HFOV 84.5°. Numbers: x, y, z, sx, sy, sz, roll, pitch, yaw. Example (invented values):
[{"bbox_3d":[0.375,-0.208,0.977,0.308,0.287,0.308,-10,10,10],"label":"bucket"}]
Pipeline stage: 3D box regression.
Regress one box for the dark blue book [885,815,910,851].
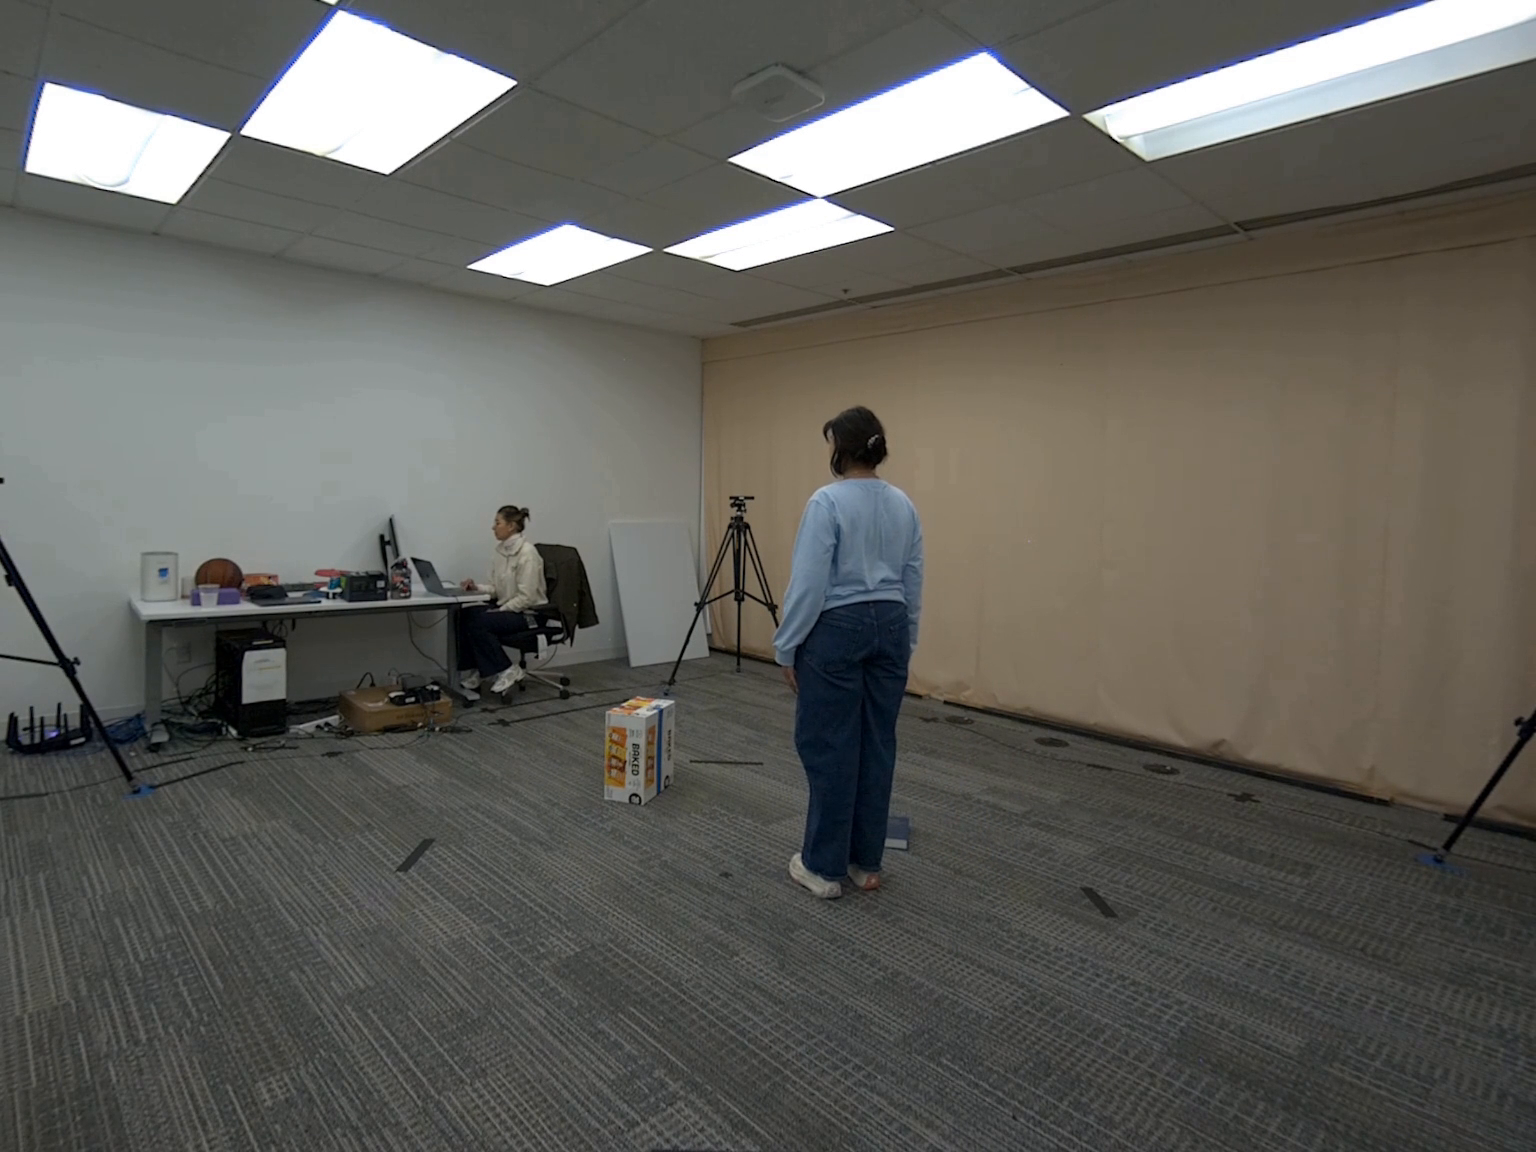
[{"bbox_3d":[0.494,1.060,3.506,0.165,0.045,0.243,3,5,12],"label":"dark blue book"}]
